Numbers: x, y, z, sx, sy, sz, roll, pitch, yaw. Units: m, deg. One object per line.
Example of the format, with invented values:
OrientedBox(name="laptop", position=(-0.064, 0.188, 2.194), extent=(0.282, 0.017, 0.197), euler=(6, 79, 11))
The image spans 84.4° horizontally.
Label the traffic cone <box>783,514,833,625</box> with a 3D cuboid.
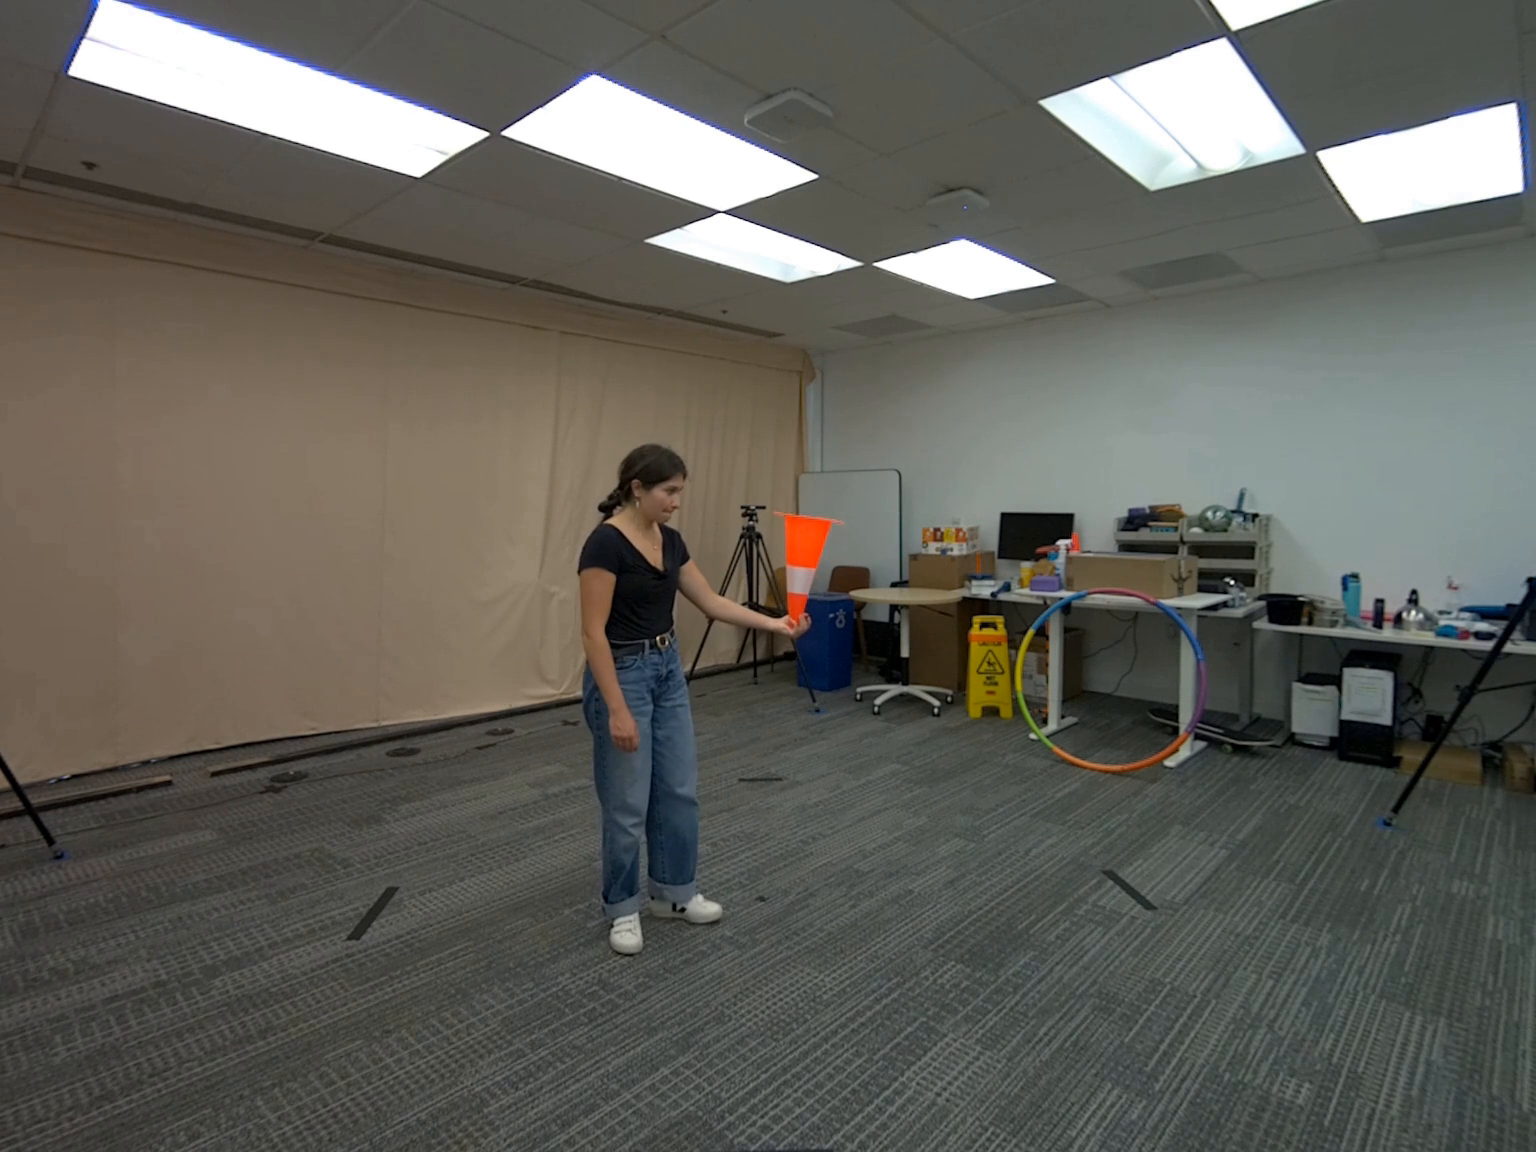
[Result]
OrientedBox(name="traffic cone", position=(0.119, -0.001, 2.822), extent=(0.200, 0.383, 0.208), euler=(7, 3, -15))
